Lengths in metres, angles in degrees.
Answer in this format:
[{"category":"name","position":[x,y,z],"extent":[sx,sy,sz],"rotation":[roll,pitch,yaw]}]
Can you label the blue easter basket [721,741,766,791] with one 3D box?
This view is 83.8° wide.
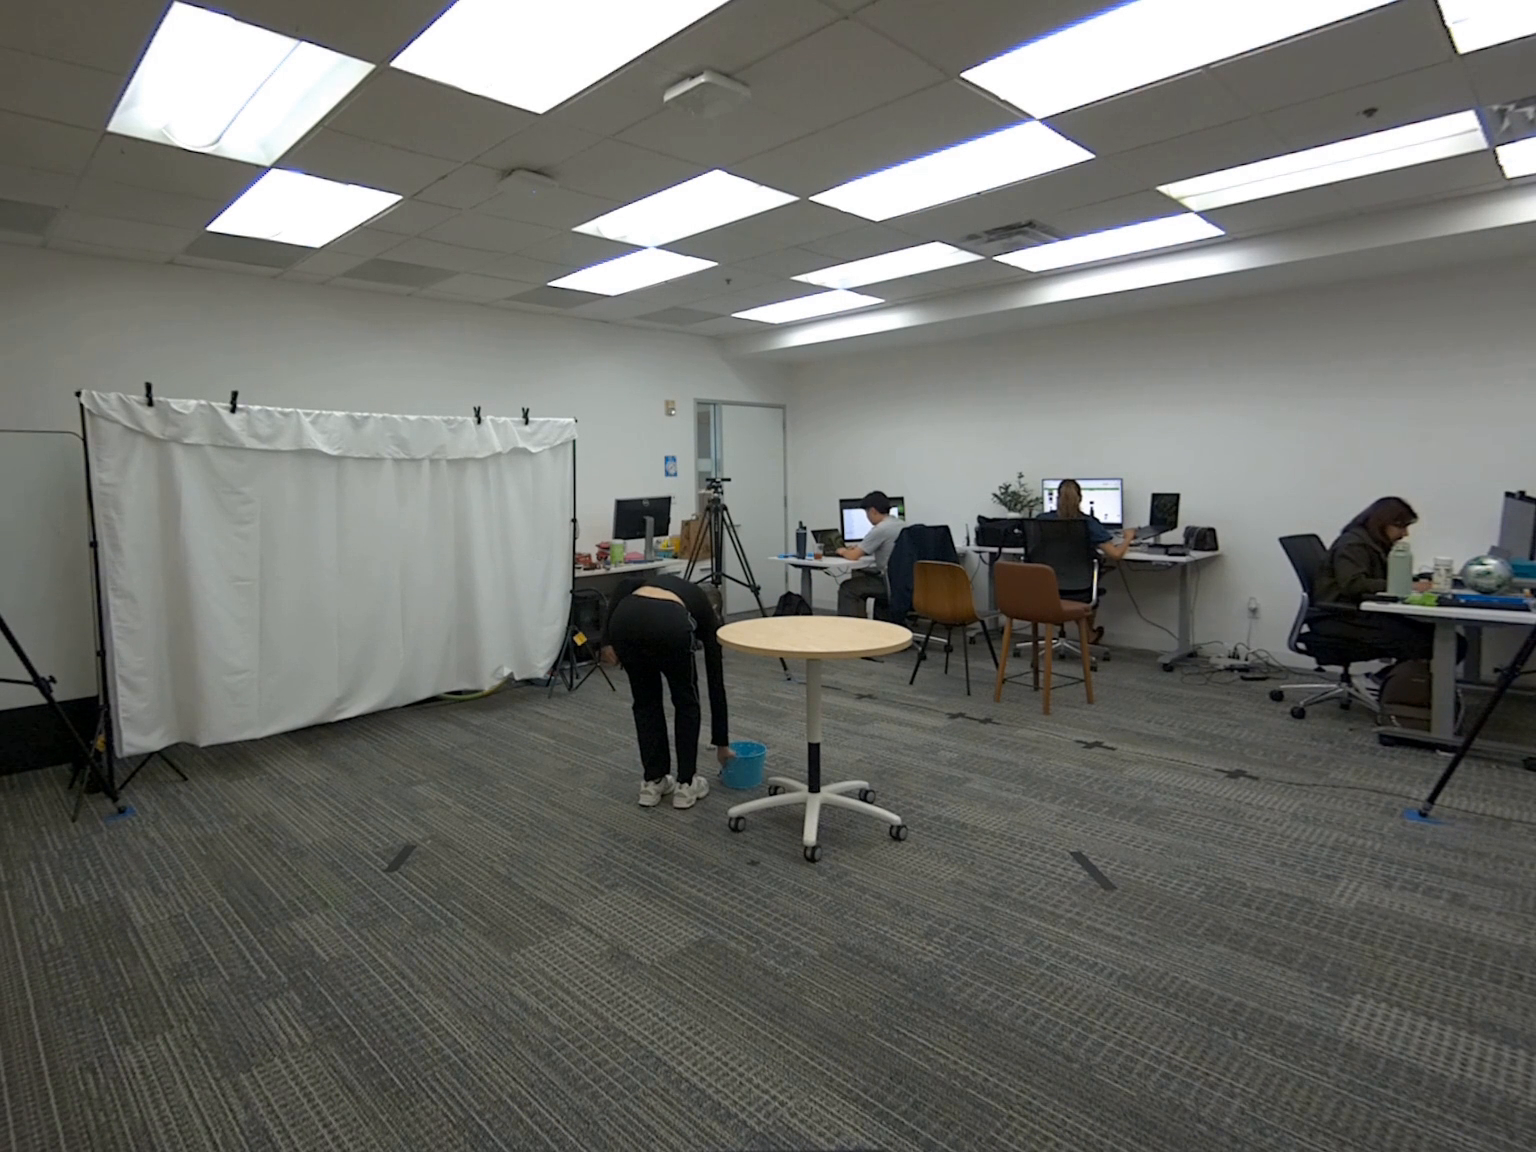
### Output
[{"category":"blue easter basket","position":[-0.124,0.872,3.951],"extent":[0.243,0.155,0.245],"rotation":[-1,5,-2]}]
